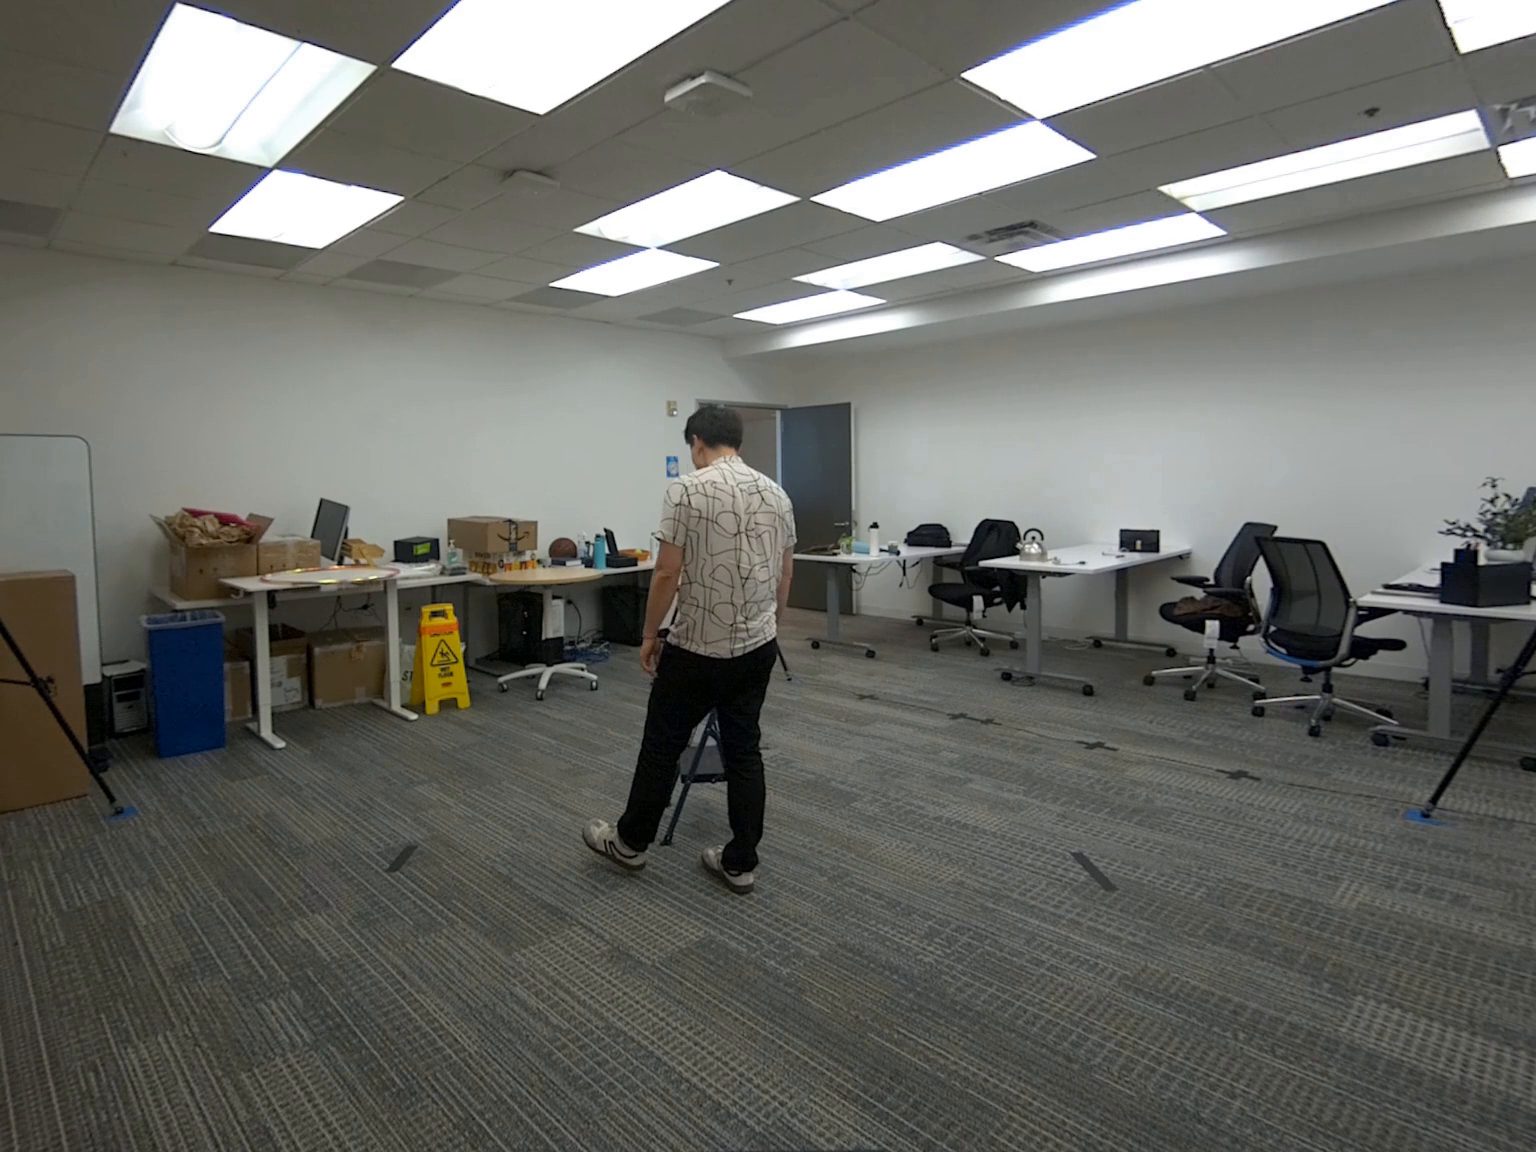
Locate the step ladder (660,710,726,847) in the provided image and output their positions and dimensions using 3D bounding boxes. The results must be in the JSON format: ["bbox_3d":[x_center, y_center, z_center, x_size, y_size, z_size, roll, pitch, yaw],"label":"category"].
[{"bbox_3d":[-0.265,0.710,3.470,0.347,0.604,0.435,-1,4,-7],"label":"step ladder"}]
